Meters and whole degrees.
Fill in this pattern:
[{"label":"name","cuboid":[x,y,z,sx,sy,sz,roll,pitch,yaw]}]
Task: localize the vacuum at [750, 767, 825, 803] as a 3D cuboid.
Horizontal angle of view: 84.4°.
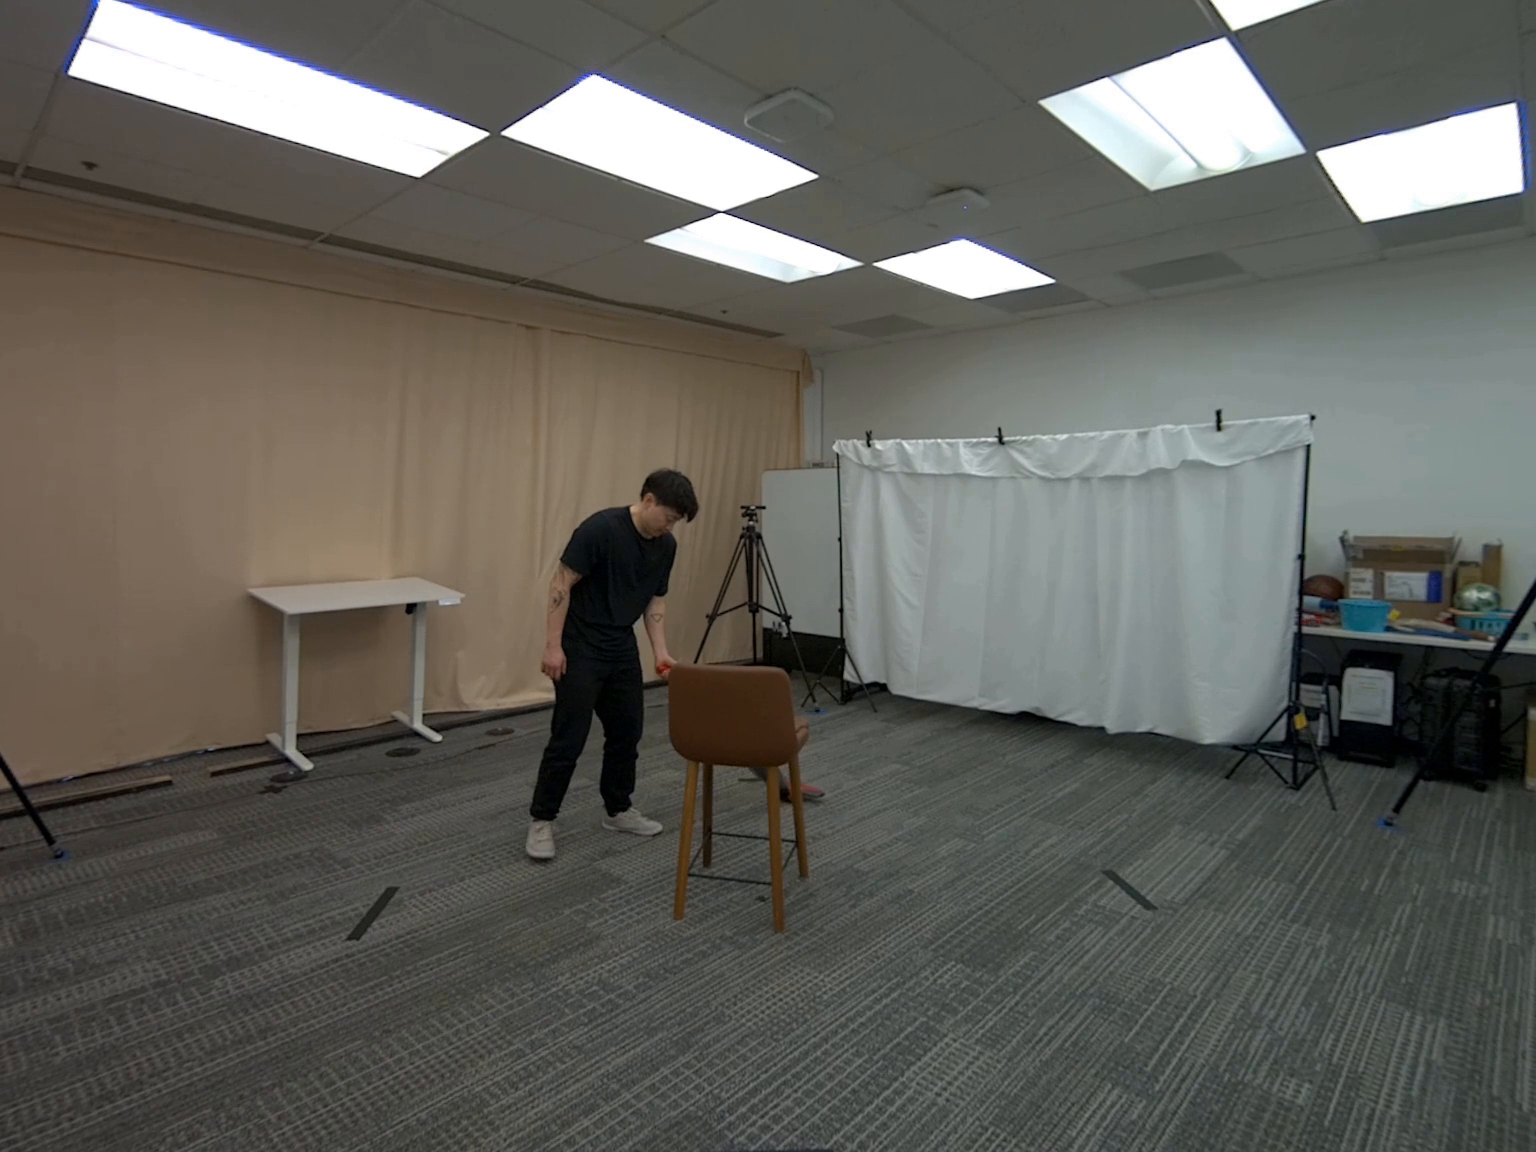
[{"label":"vacuum","cuboid":[-0.165,0.728,3.747,0.260,0.144,1.017,-6,-43,45]}]
